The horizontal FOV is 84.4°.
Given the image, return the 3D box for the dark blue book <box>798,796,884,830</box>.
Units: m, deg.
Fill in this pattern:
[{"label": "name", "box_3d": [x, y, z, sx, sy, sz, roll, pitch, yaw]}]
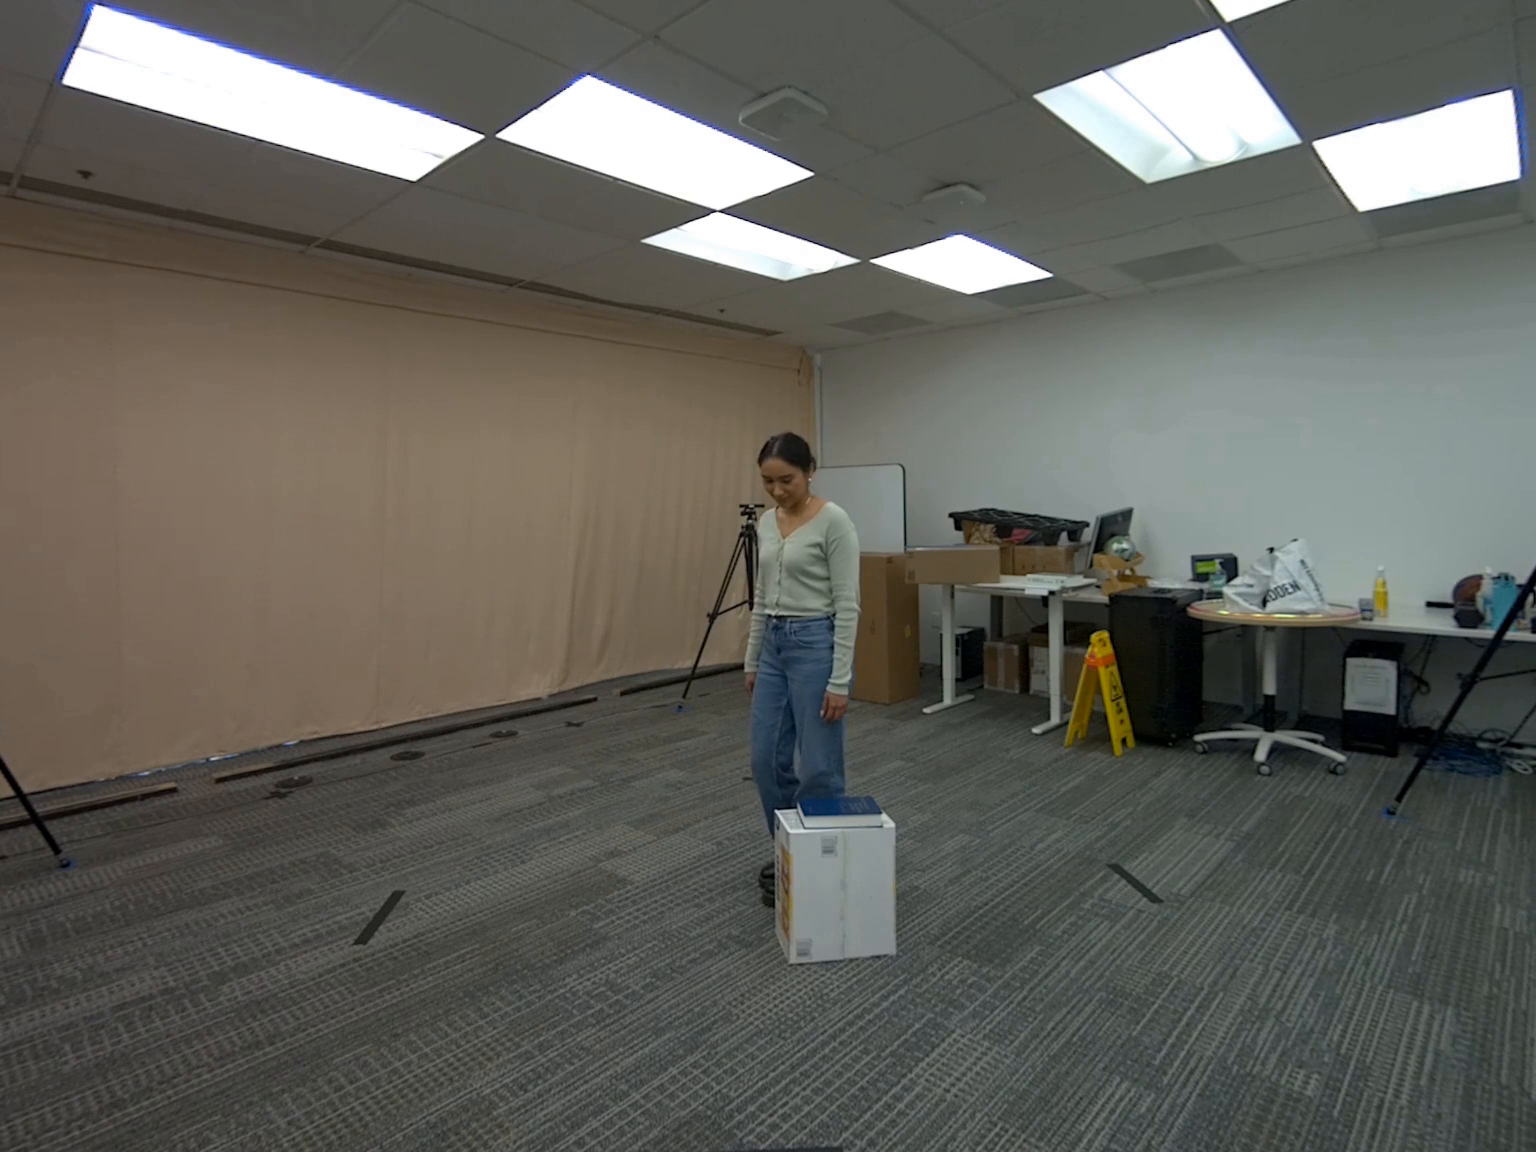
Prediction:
[{"label": "dark blue book", "box_3d": [0.229, 0.741, 2.640, 0.244, 0.045, 0.164, -1, 4, -3]}]
